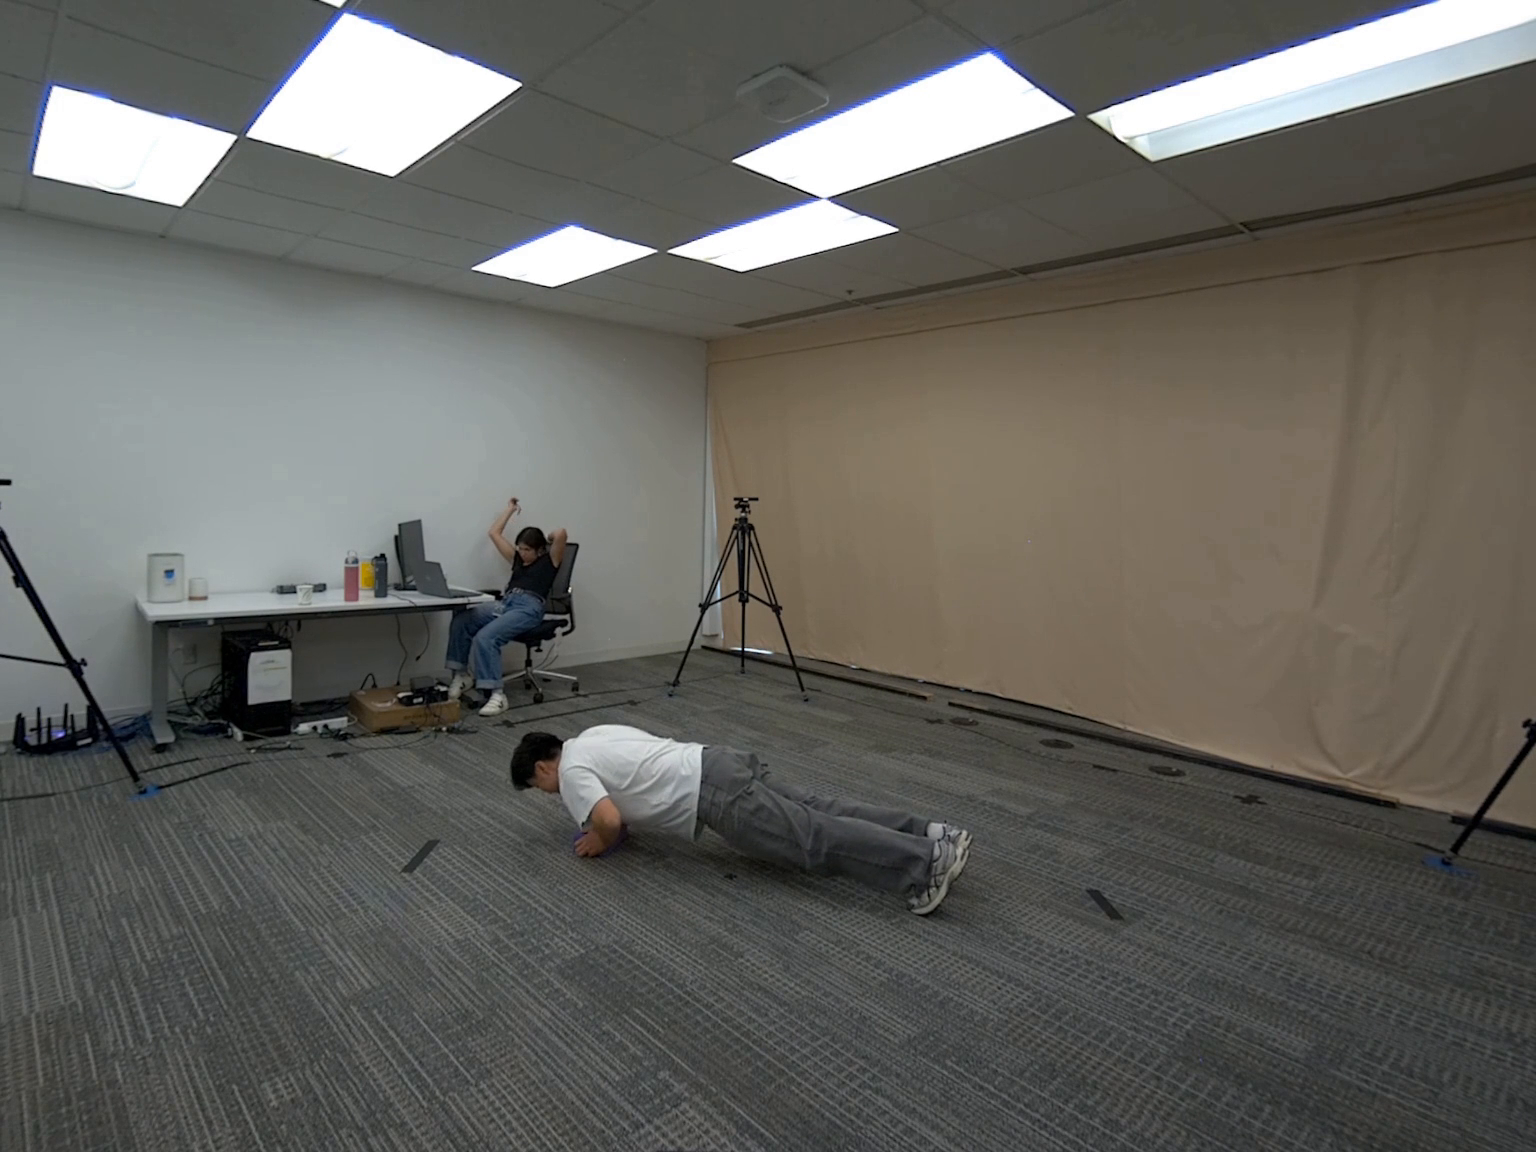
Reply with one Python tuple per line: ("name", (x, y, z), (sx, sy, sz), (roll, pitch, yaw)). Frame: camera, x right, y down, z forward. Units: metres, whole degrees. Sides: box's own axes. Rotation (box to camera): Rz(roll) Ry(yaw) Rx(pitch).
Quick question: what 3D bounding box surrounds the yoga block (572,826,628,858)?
("yoga block", (-0.660, 1.041, 3.342), (0.151, 0.076, 0.227), (5, 7, 15))
